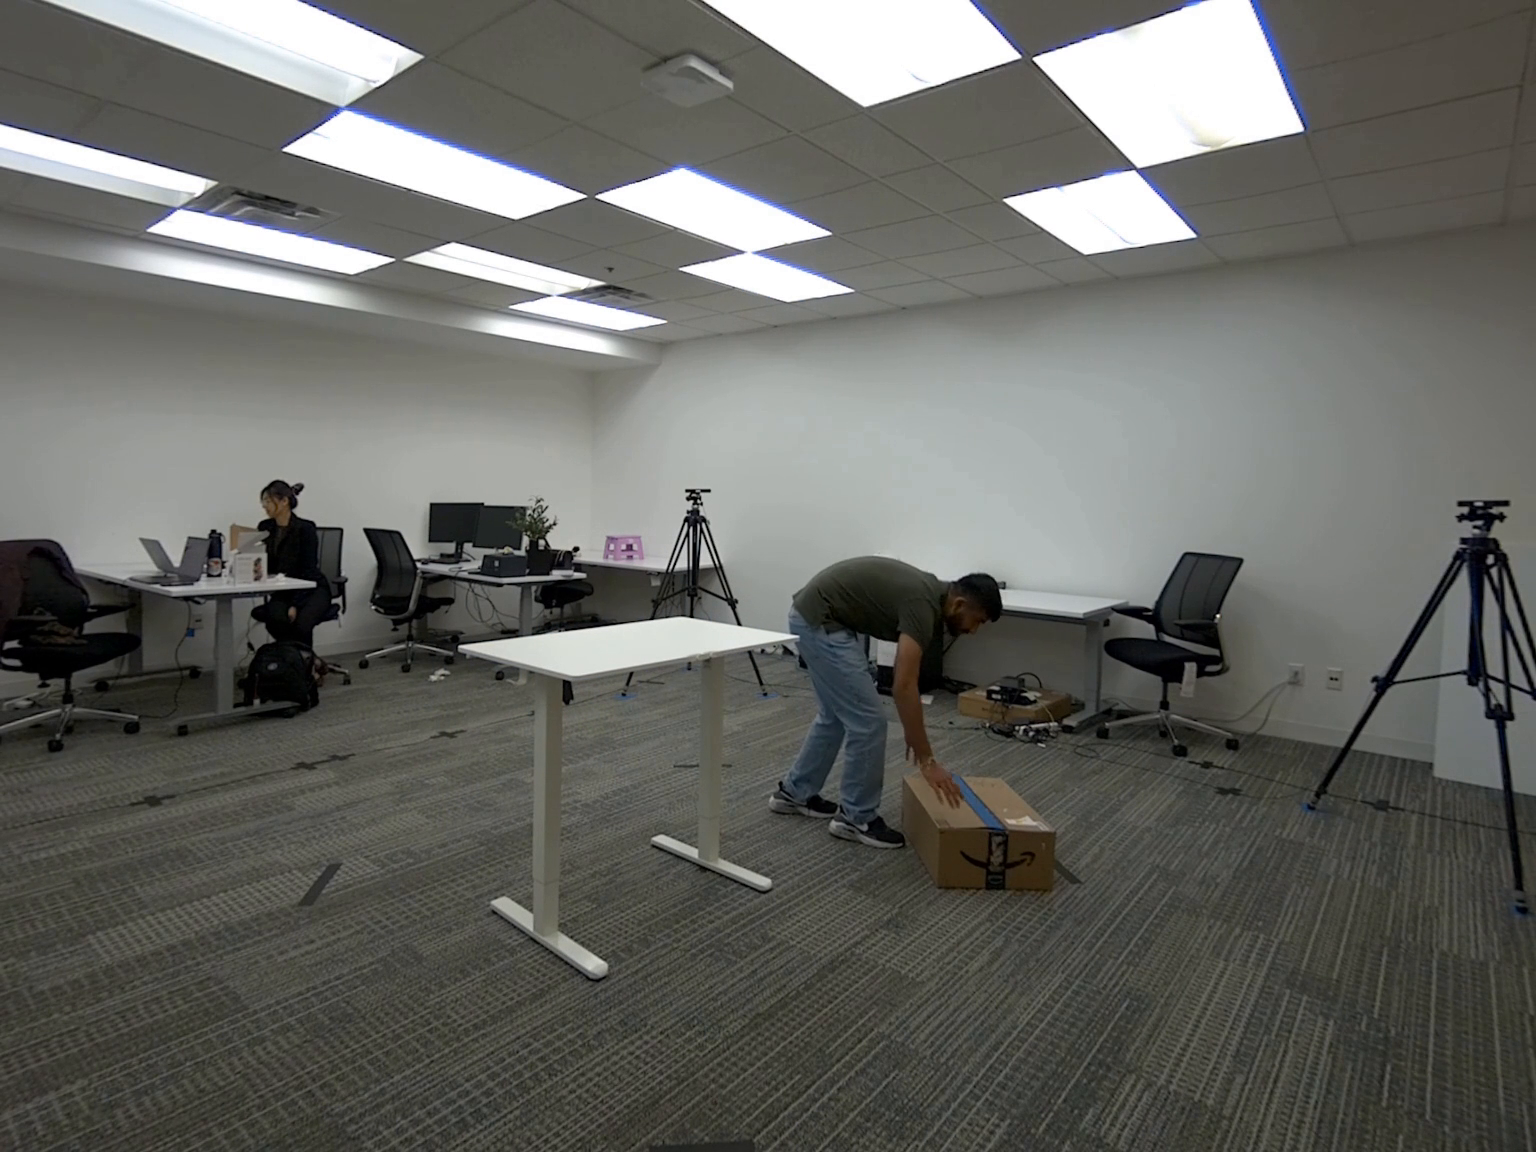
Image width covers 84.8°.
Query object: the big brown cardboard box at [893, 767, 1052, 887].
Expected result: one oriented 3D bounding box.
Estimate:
[{"bbox_3d":[0.769,0.957,3.276,0.416,0.232,0.593,1,5,-4],"label":"big brown cardboard box"}]
